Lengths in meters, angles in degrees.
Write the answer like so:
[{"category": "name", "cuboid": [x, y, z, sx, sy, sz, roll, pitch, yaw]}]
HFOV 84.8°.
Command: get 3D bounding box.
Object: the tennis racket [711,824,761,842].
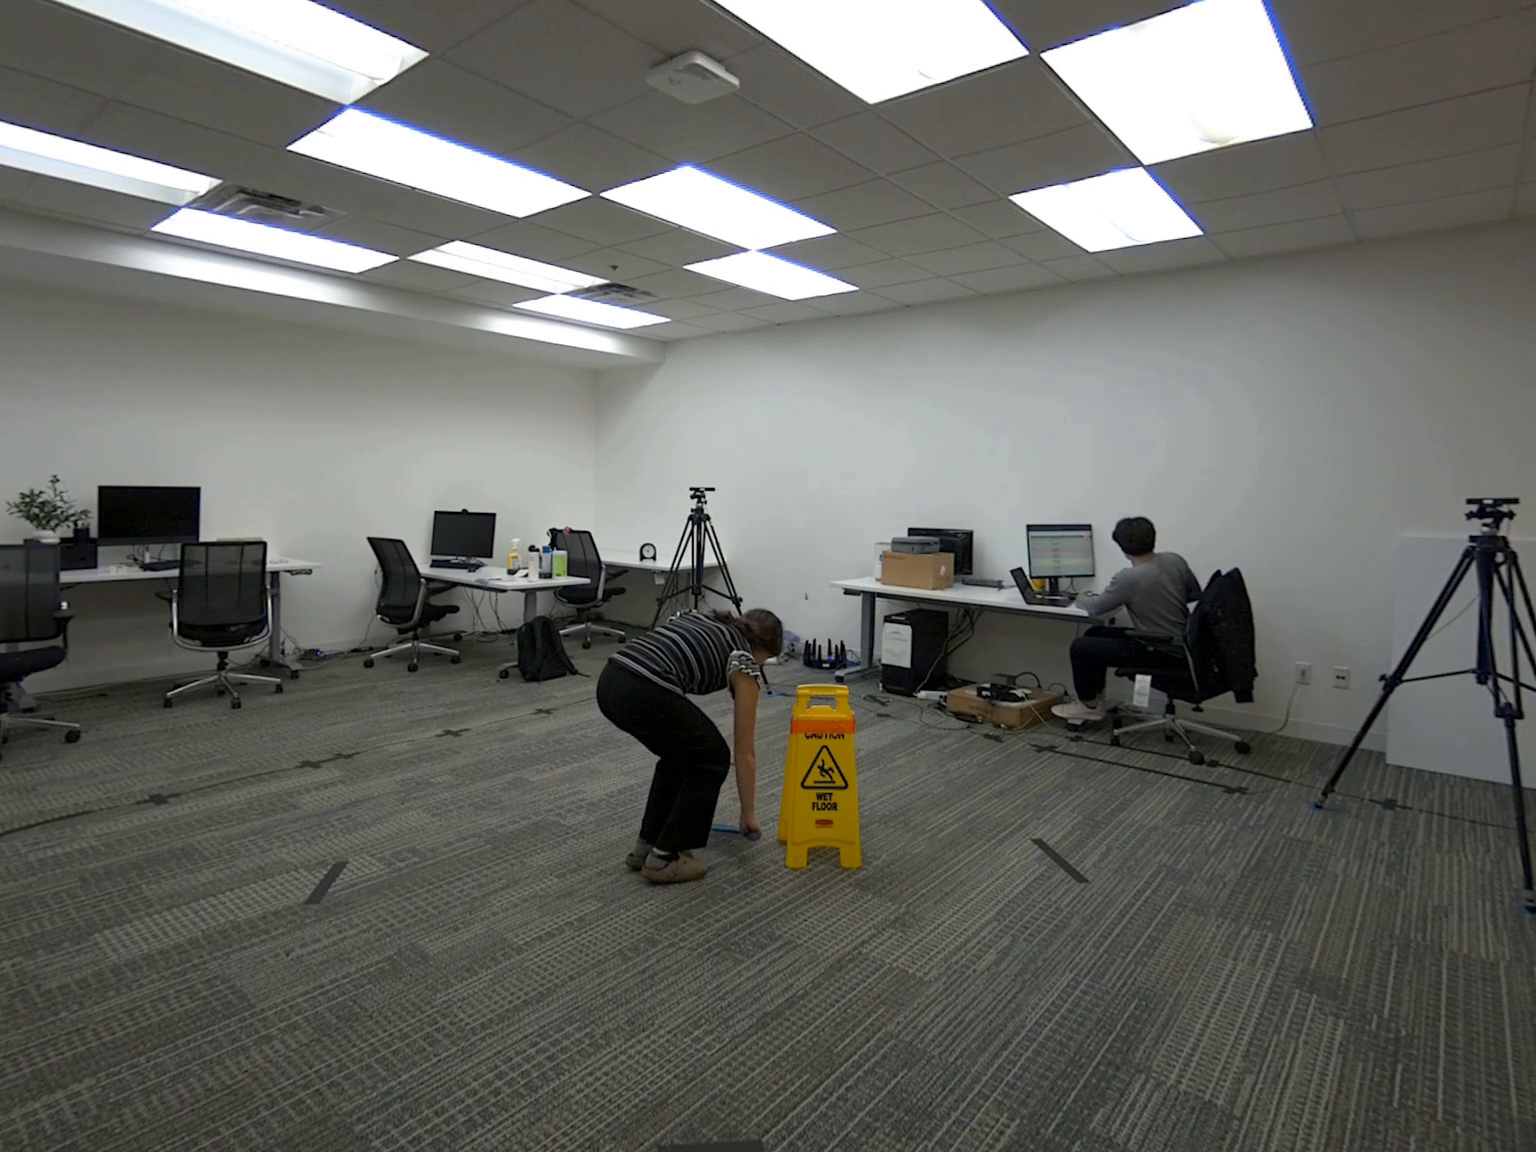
[{"category": "tennis racket", "cuboid": [-0.145, 0.975, 3.294, 0.209, 0.032, 0.437, 10, -13, -20]}]
